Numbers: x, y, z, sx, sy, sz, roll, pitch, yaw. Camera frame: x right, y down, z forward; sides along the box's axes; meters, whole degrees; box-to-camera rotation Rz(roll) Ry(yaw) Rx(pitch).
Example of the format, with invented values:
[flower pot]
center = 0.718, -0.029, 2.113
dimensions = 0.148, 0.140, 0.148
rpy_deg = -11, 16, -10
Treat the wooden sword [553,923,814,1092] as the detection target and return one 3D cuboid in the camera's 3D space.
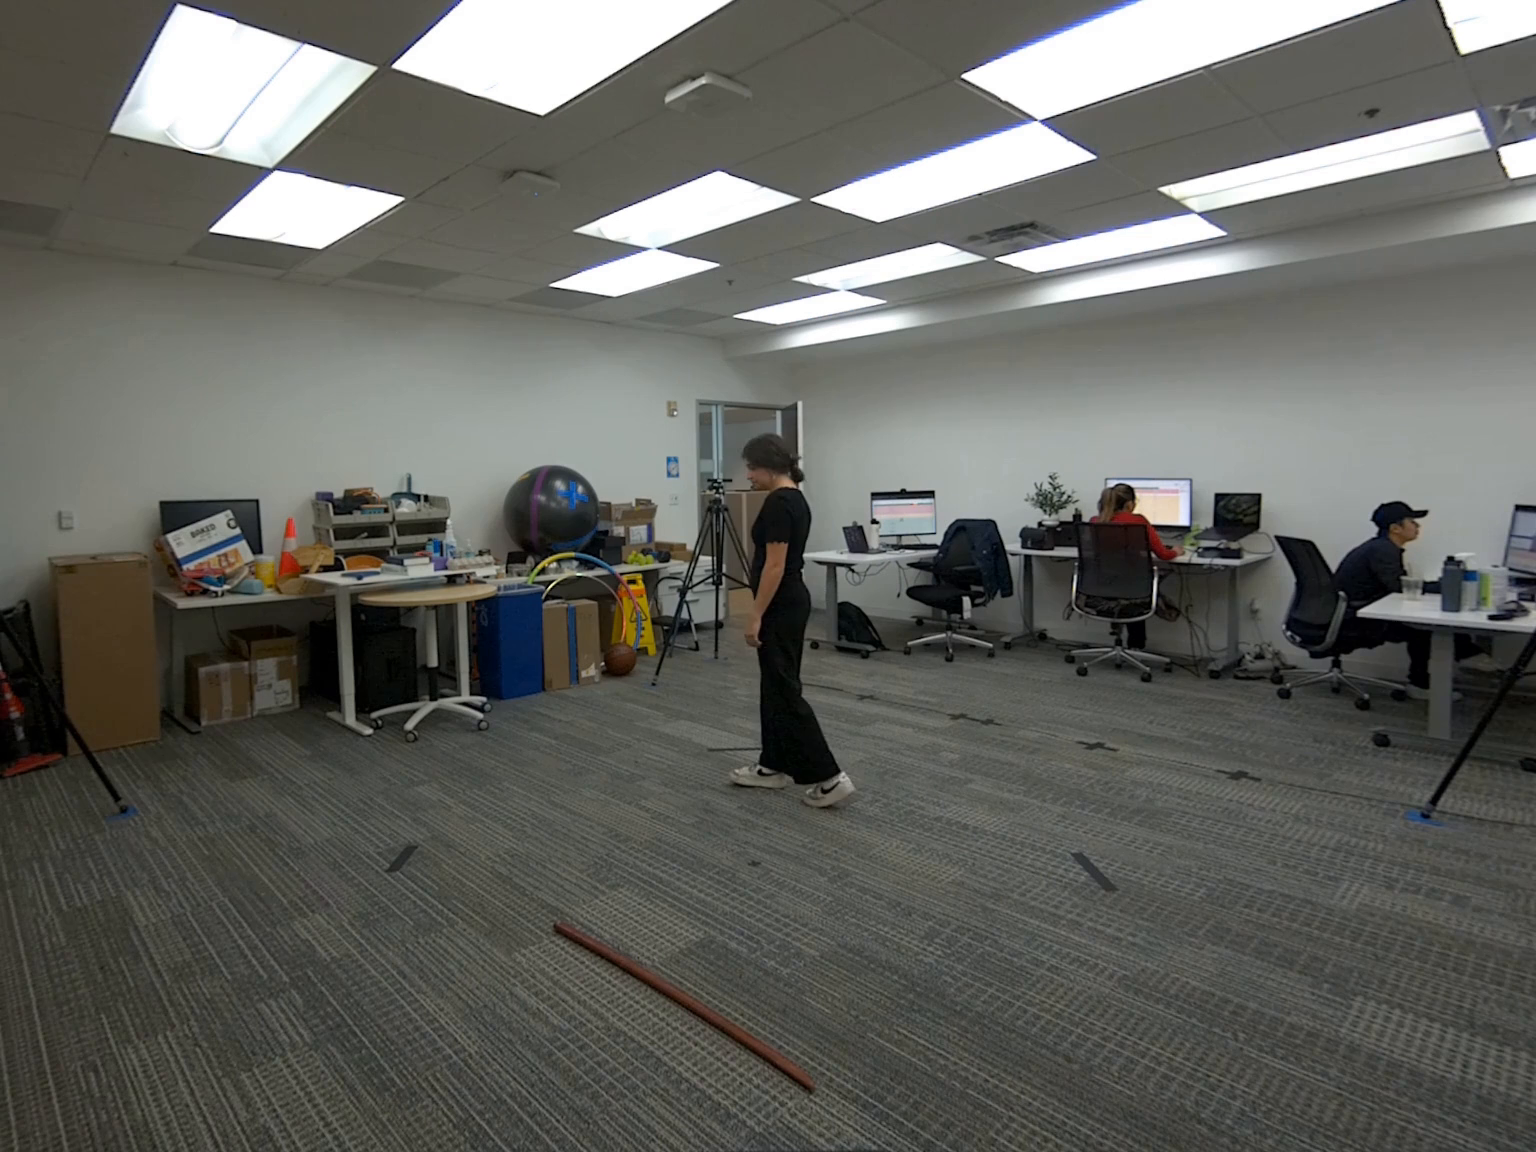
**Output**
[wooden sword]
center = -0.254, 1.119, 2.324
dimensions = 1.056, 0.024, 0.049
rpy_deg = 5, -6, 43
